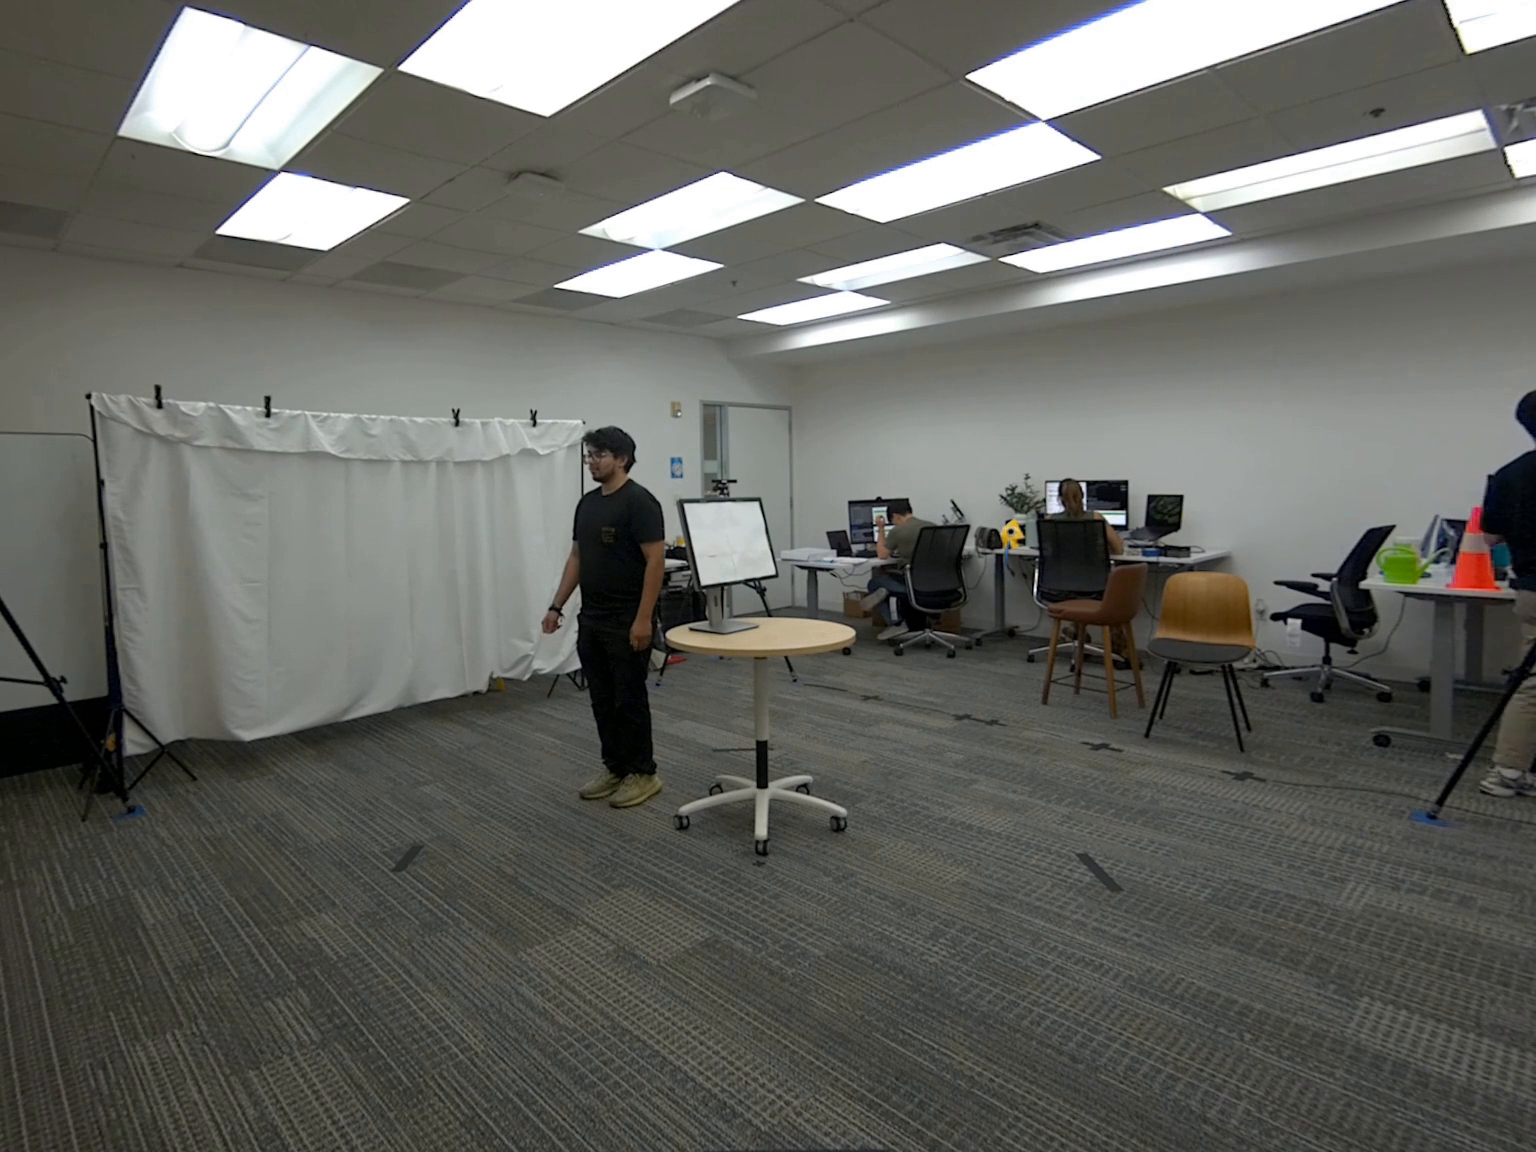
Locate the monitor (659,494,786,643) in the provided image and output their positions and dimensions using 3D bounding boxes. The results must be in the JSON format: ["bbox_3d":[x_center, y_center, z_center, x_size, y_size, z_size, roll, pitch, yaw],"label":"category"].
[{"bbox_3d":[-0.204,-0.049,3.566,0.215,0.554,0.551,-7,0,36],"label":"monitor"}]
